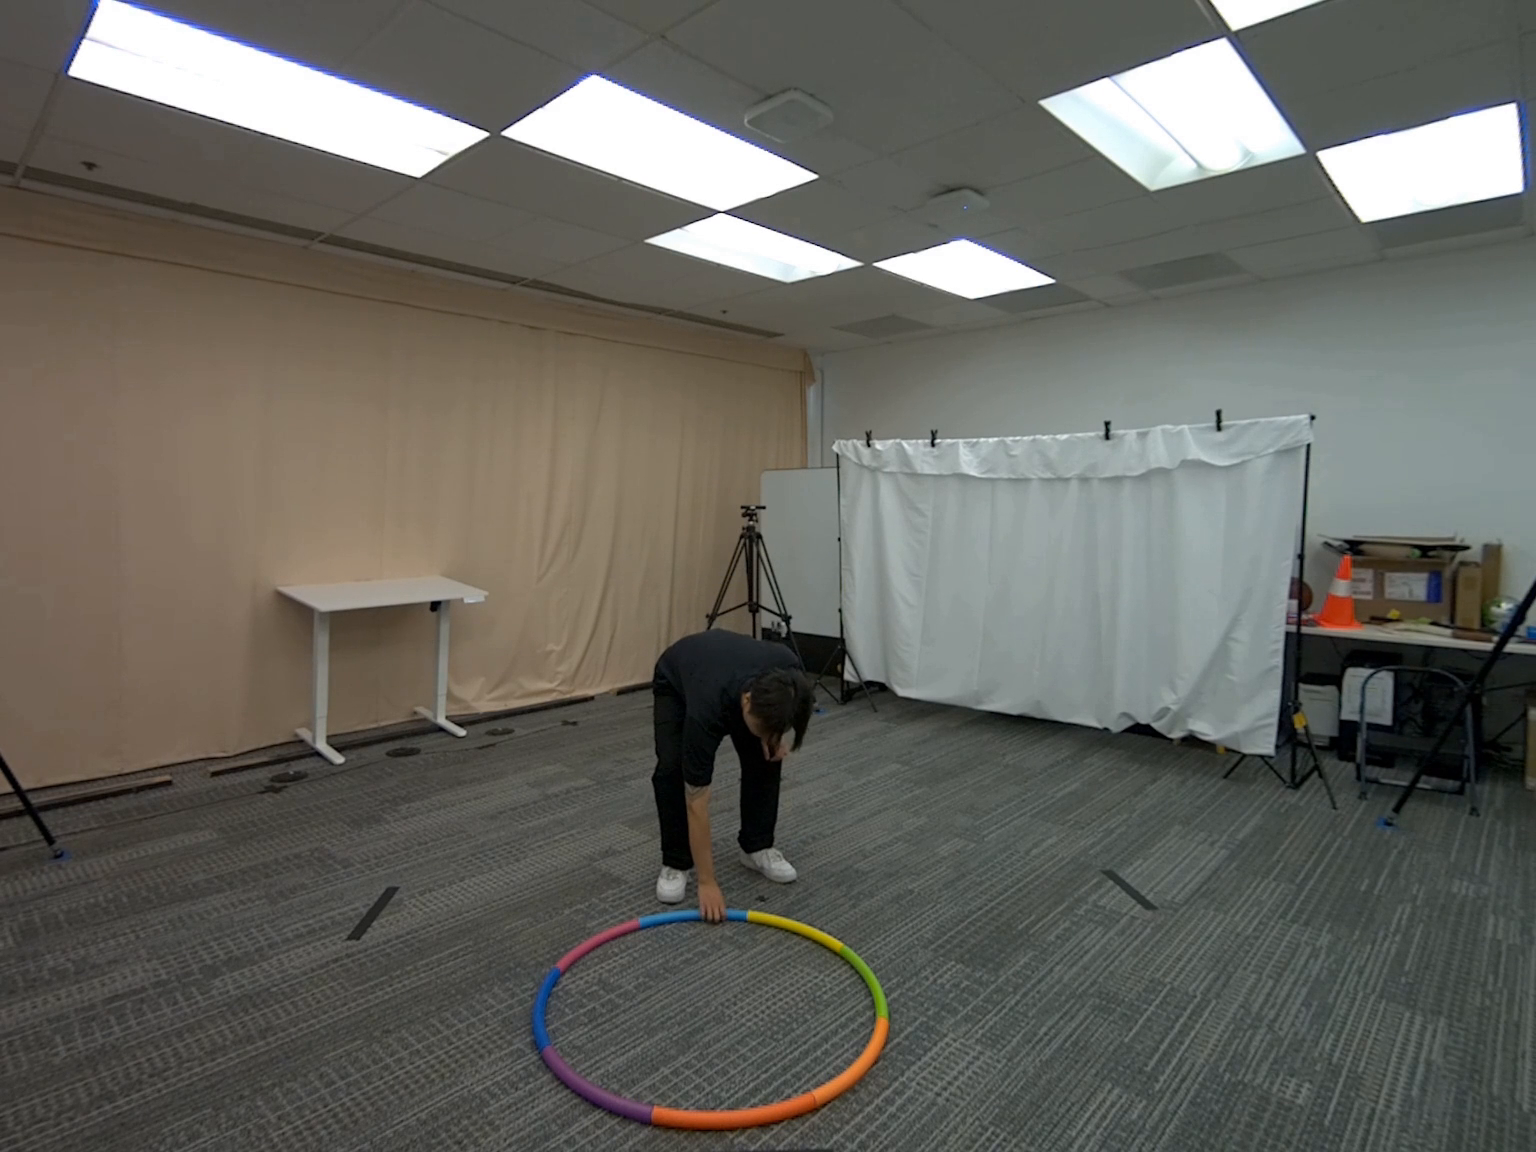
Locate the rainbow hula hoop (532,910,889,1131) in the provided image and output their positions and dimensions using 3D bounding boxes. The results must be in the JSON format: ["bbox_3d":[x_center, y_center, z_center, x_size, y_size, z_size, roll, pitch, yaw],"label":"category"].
[{"bbox_3d":[-0.158,1.169,2.361,0.978,0.035,0.982,0,5,-2],"label":"rainbow hula hoop"}]
